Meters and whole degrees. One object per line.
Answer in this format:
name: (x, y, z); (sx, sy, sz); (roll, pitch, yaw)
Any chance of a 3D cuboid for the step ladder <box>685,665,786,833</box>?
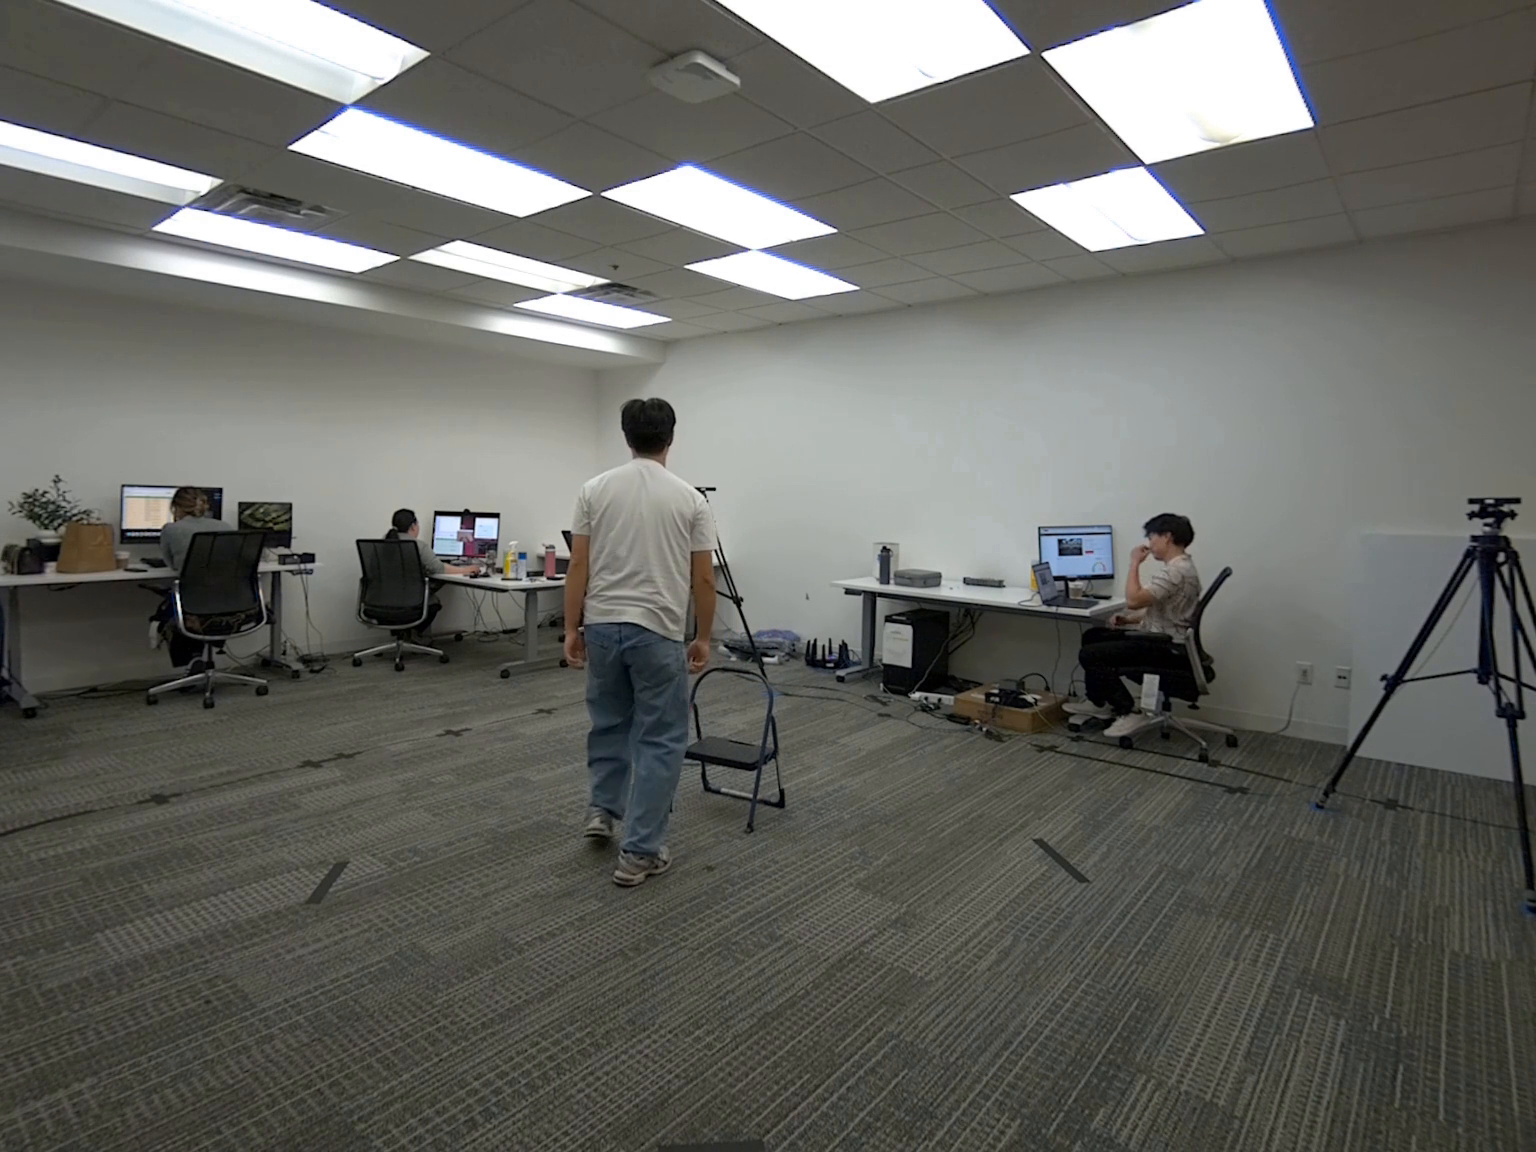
step ladder: (-0.182, 0.708, 3.676); (0.443, 0.604, 0.340); (3, 3, 28)
